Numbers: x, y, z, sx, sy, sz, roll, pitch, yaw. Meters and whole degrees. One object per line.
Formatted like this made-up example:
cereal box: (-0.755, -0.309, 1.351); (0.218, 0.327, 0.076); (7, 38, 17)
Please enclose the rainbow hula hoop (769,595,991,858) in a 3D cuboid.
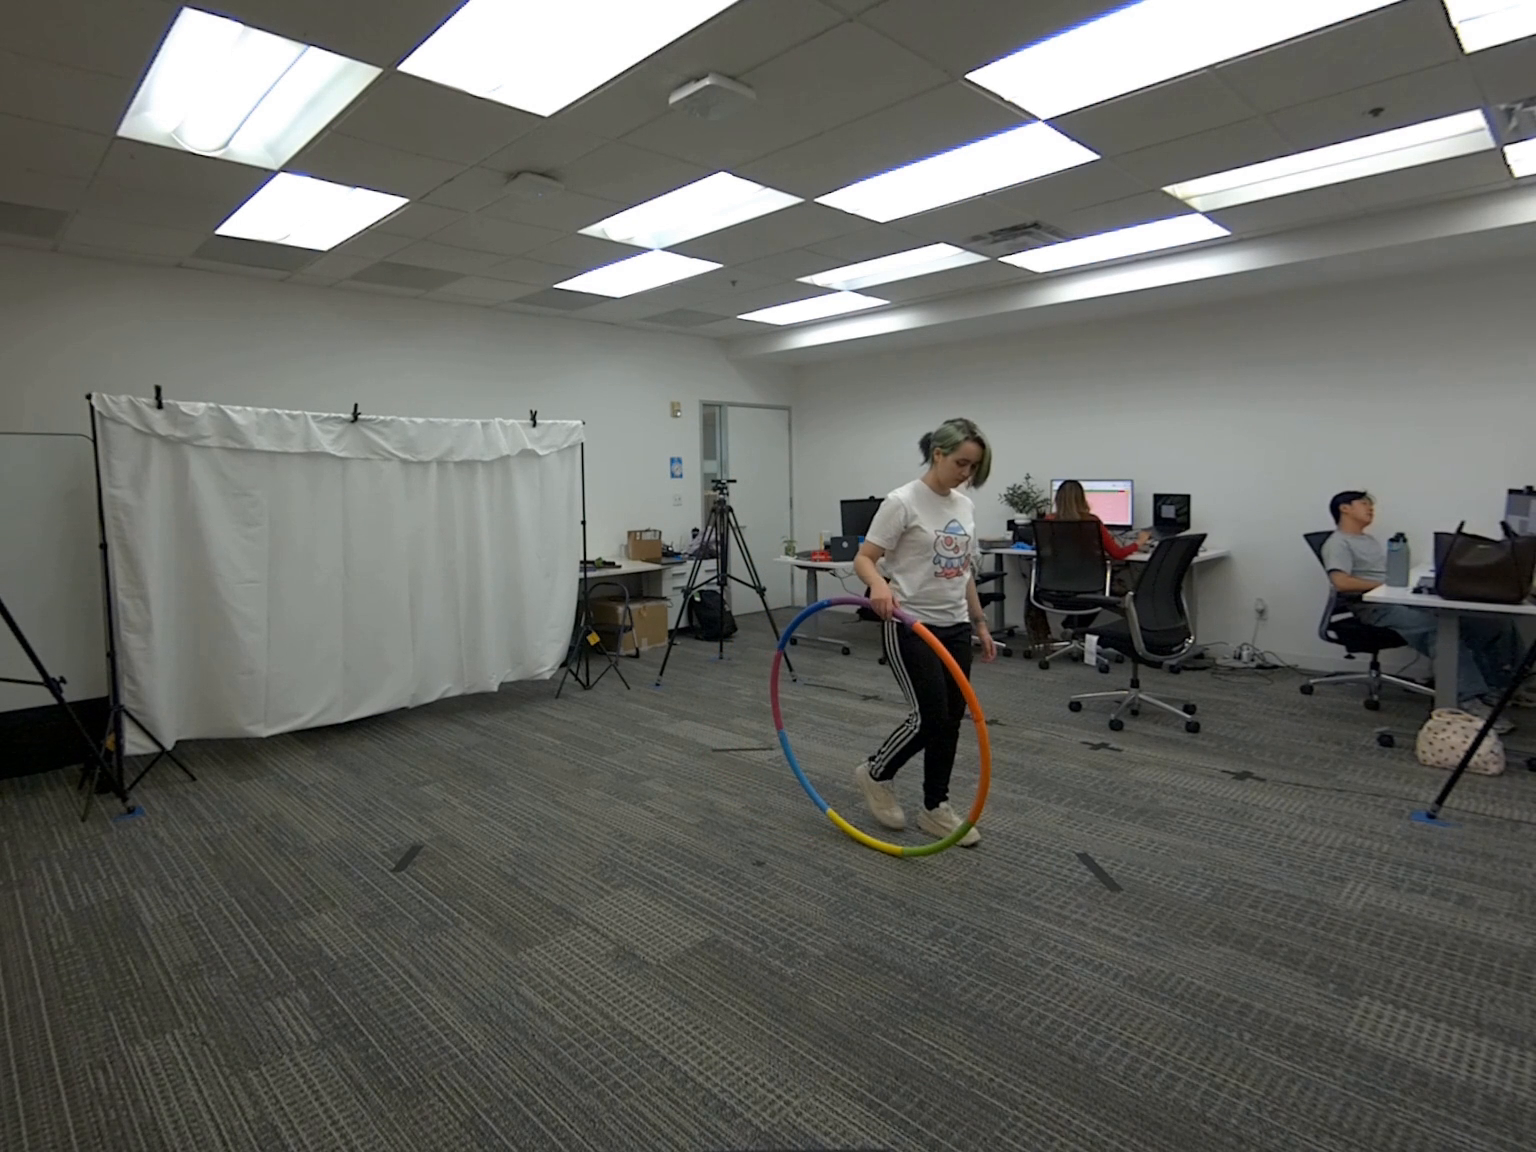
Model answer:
rainbow hula hoop: (0.371, 0.546, 3.141); (0.035, 0.971, 1.009); (-12, 11, -41)
